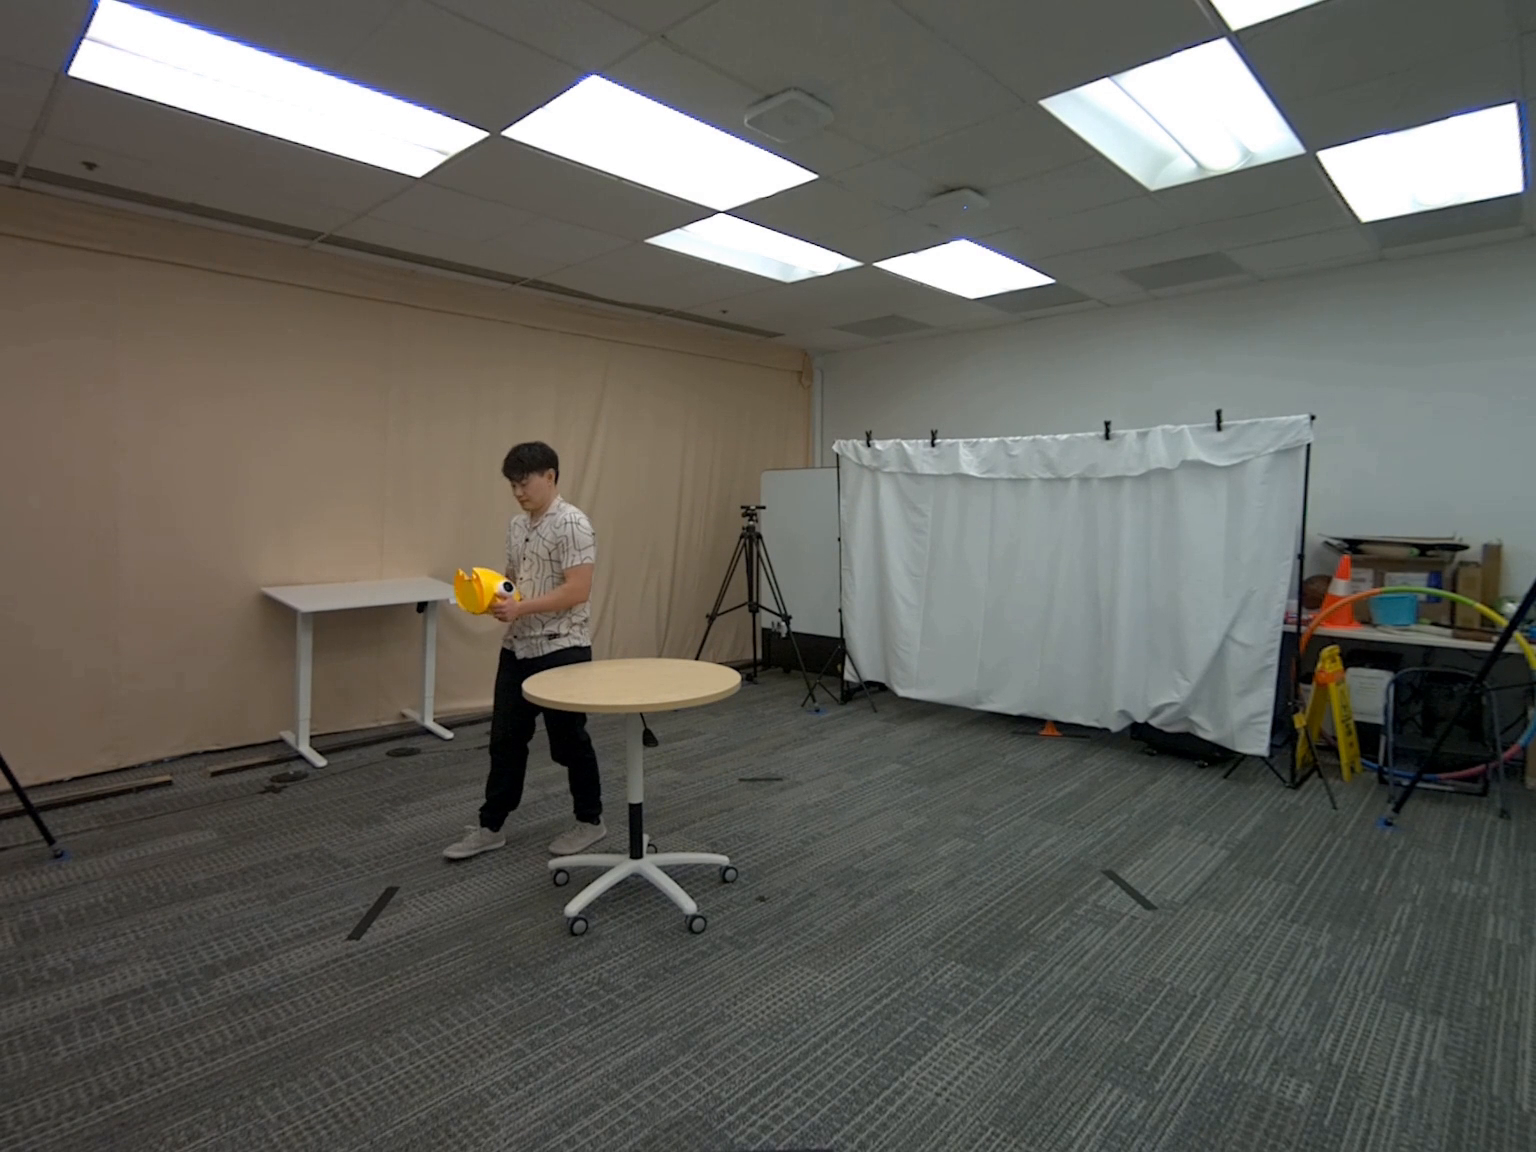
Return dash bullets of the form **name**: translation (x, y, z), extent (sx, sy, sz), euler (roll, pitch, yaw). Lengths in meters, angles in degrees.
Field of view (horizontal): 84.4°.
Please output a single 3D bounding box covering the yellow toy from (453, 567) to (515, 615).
- **yellow toy**: translation (-1.053, 0.044, 3.244), extent (0.212, 0.191, 0.224), euler (10, 16, 41)
